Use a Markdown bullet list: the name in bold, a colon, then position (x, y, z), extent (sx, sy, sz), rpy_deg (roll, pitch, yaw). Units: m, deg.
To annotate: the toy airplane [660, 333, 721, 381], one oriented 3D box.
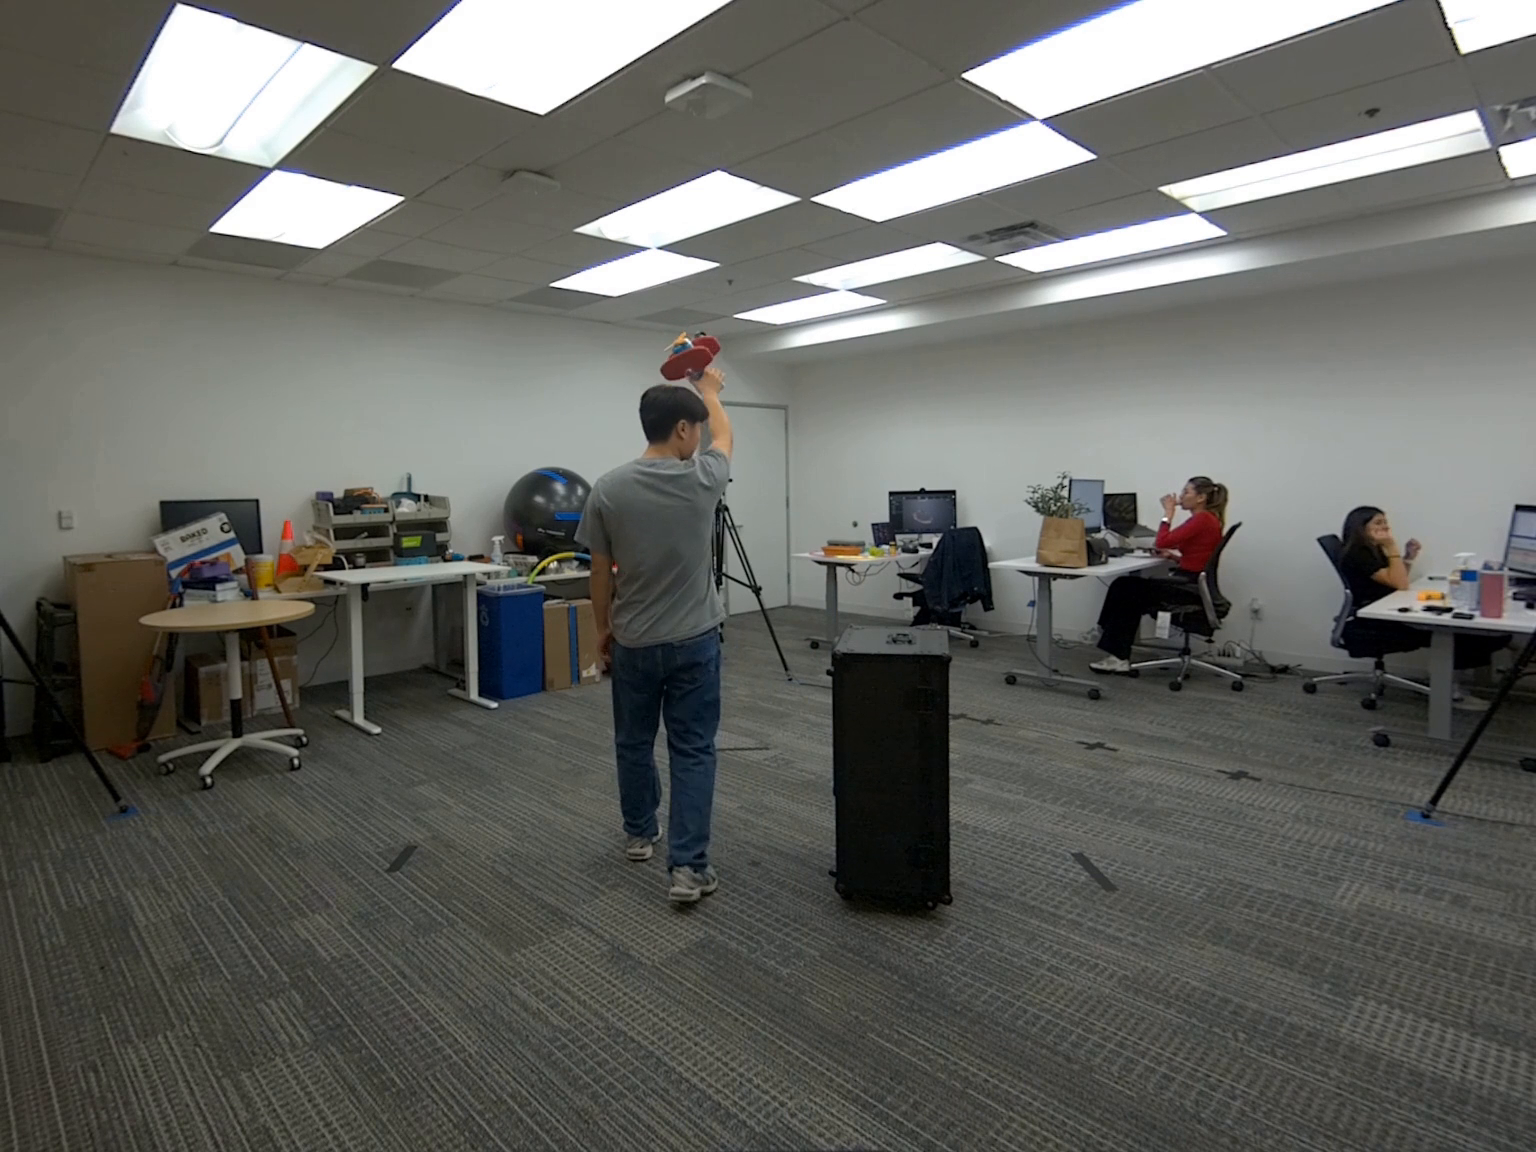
- **toy airplane**: position (-0.257, -0.835, 3.346), extent (0.156, 0.261, 0.250), rpy_deg (-43, -6, -46)
